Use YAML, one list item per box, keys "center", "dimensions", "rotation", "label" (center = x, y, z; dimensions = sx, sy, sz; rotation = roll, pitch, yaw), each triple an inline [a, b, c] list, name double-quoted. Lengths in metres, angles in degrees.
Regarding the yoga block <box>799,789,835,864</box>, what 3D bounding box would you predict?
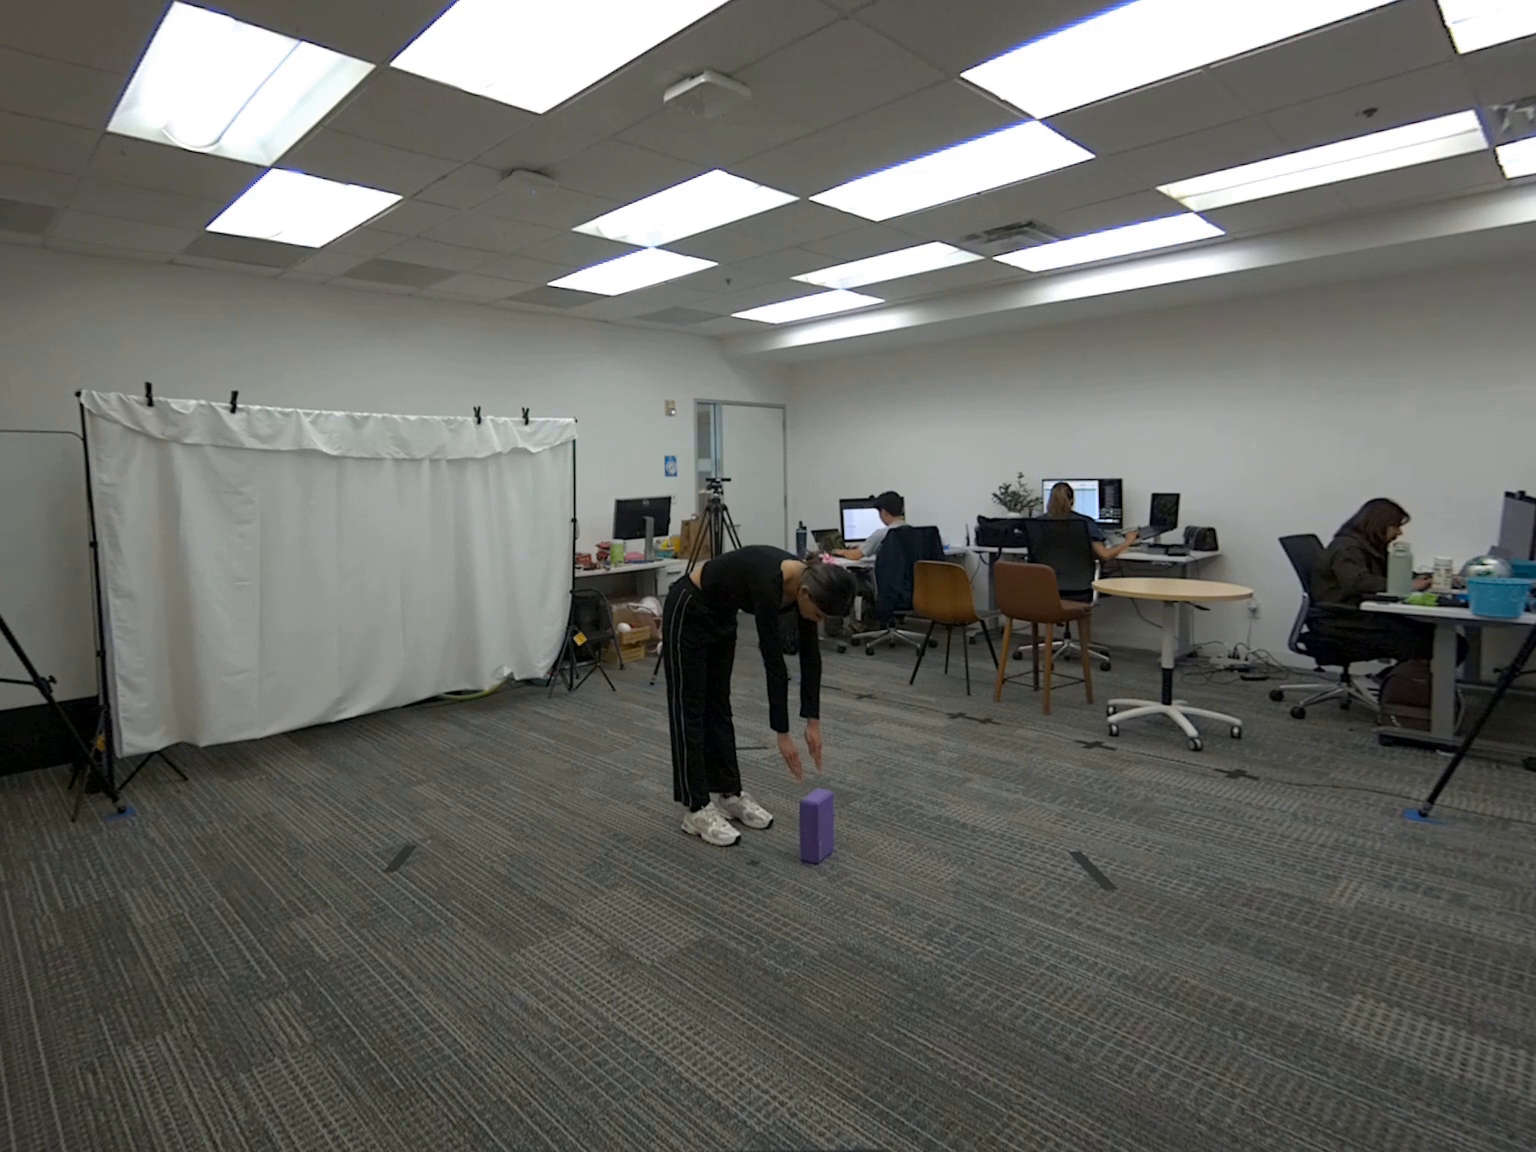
- center: [0.184, 0.918, 3.147]
  dimensions: [0.078, 0.229, 0.146]
  rotation: [1, 4, 28]
  label: "yoga block"
